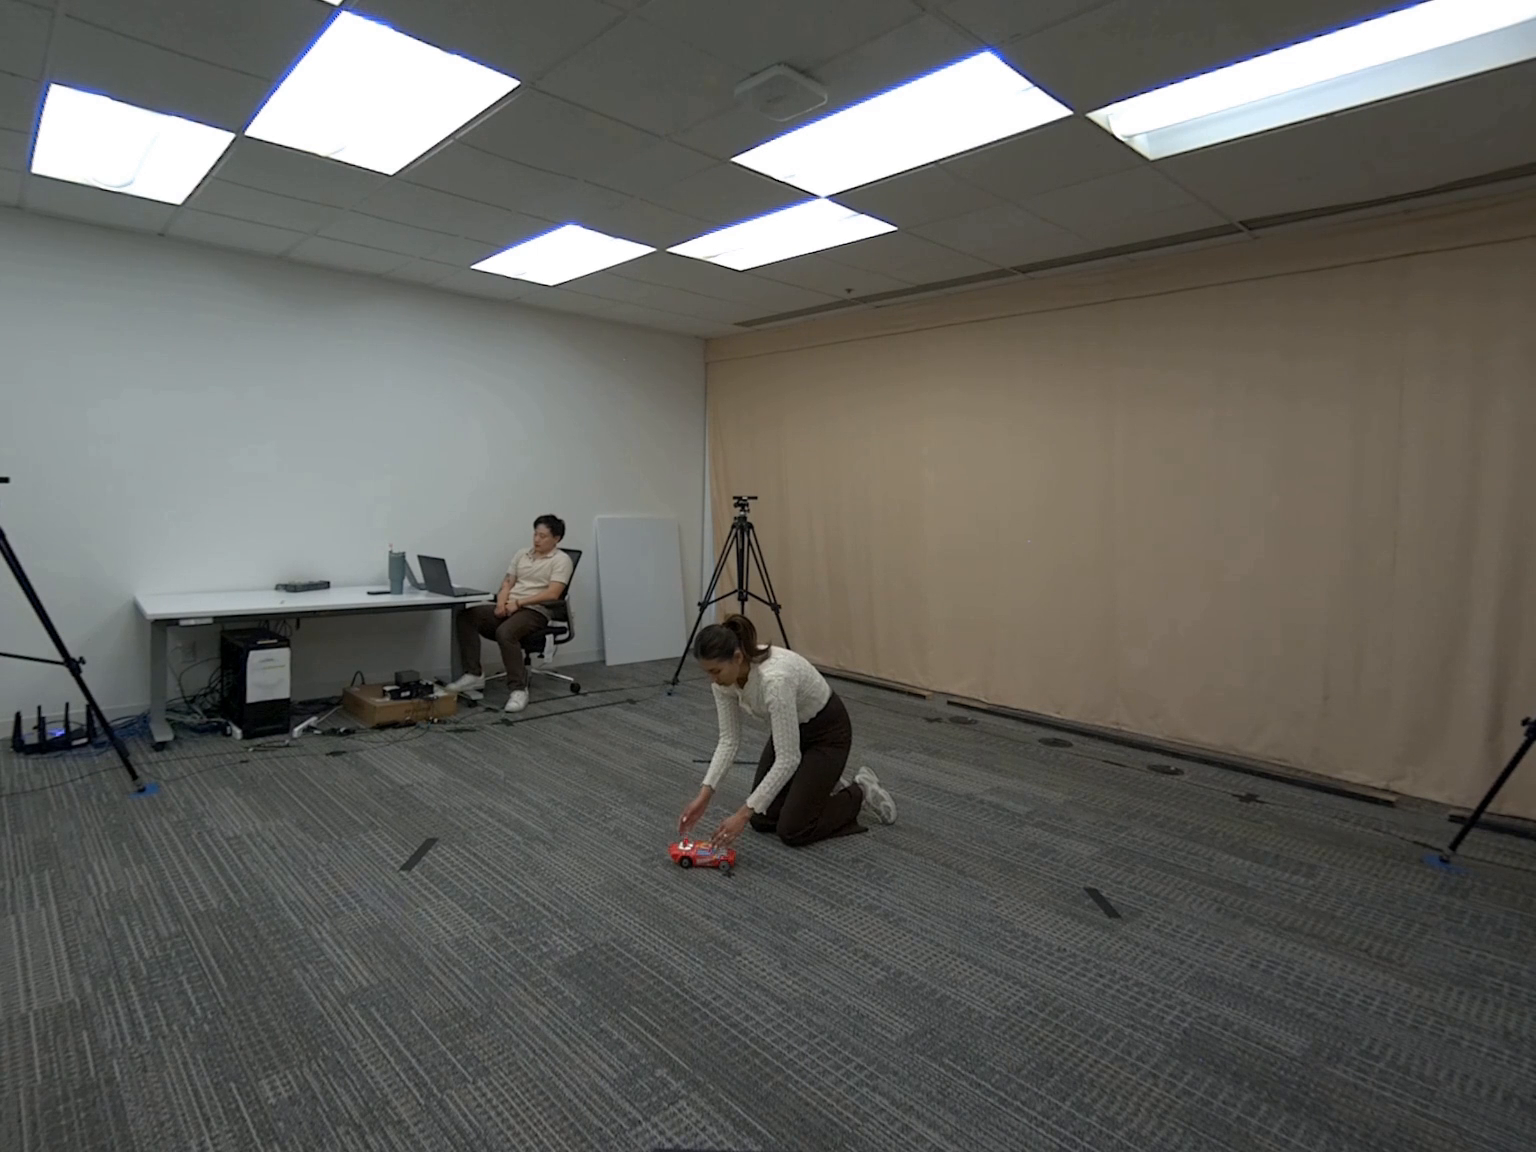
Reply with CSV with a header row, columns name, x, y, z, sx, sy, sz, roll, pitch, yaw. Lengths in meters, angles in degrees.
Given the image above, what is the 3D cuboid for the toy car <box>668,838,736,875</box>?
name,x,y,z,sx,sy,sz,roll,pitch,yaw
toy car,-0.260,1.058,3.193,0.256,0.083,0.130,13,6,5
